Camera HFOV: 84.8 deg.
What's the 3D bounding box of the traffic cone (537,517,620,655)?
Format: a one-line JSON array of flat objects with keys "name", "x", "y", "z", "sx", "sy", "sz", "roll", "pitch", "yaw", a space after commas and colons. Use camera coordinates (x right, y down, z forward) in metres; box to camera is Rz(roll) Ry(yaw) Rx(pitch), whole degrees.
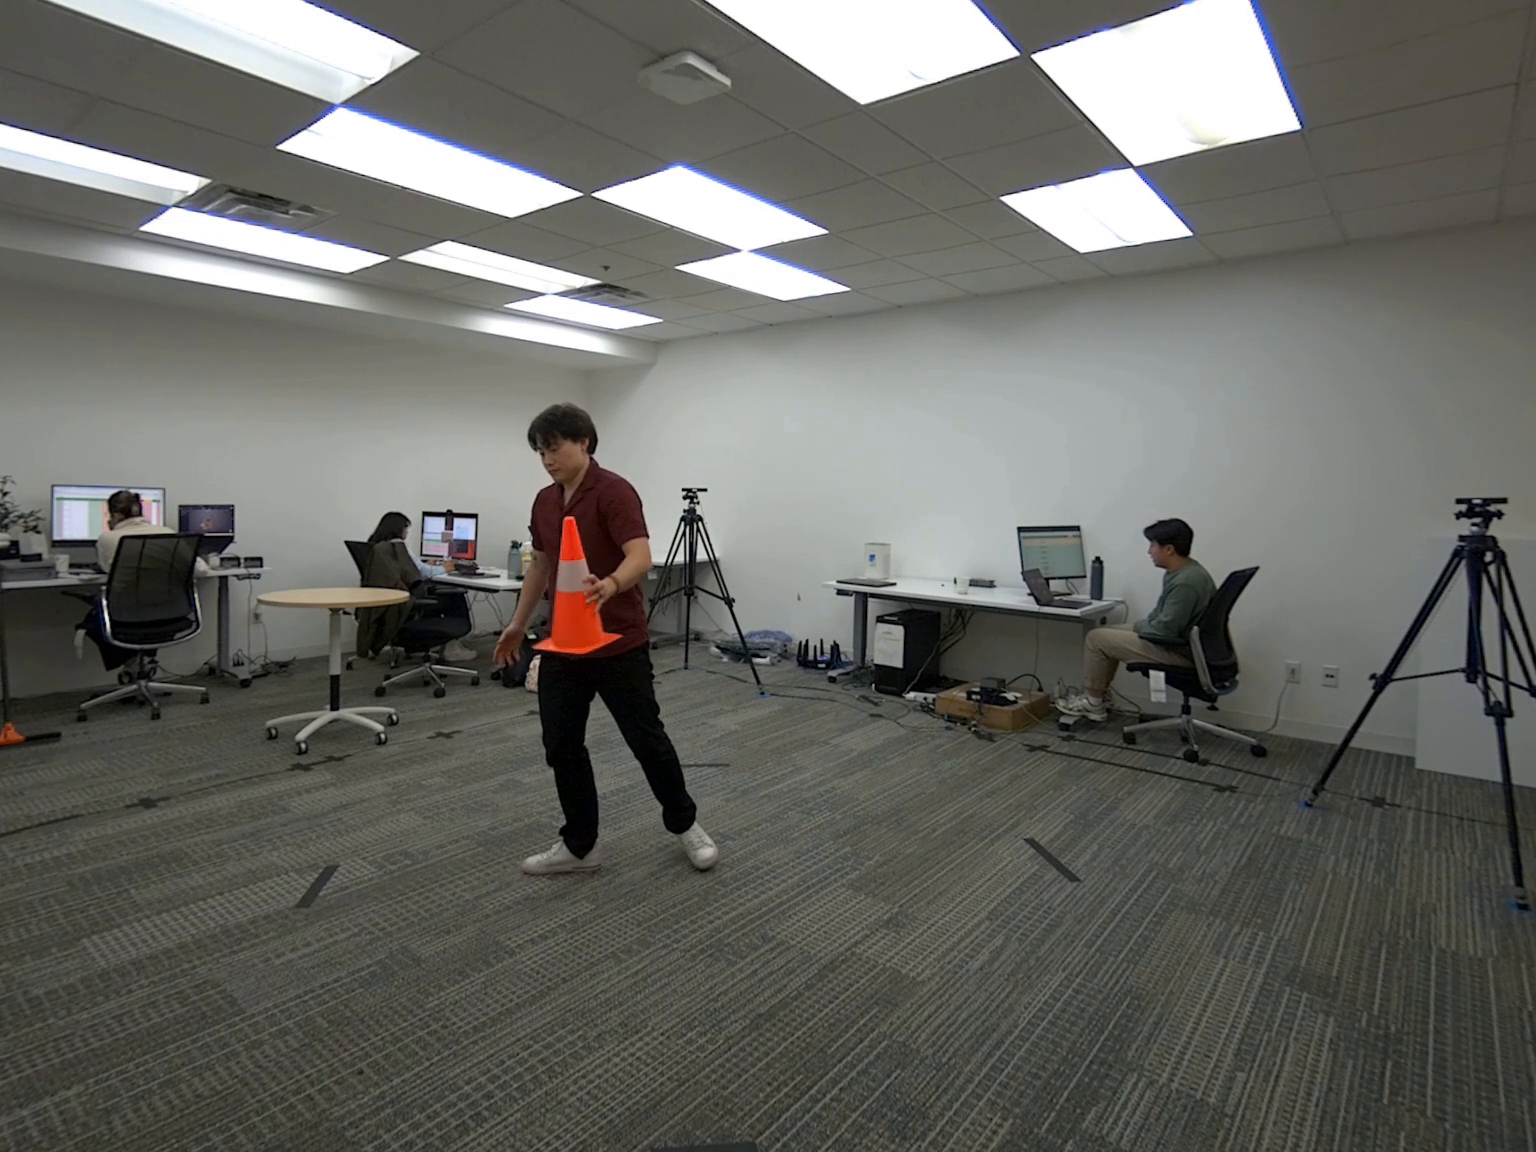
[{"name": "traffic cone", "x": -0.580, "y": 0.007, "z": 2.551, "sx": 0.211, "sy": 0.380, "sz": 0.199, "roll": 8, "pitch": 11, "yaw": 27}]
